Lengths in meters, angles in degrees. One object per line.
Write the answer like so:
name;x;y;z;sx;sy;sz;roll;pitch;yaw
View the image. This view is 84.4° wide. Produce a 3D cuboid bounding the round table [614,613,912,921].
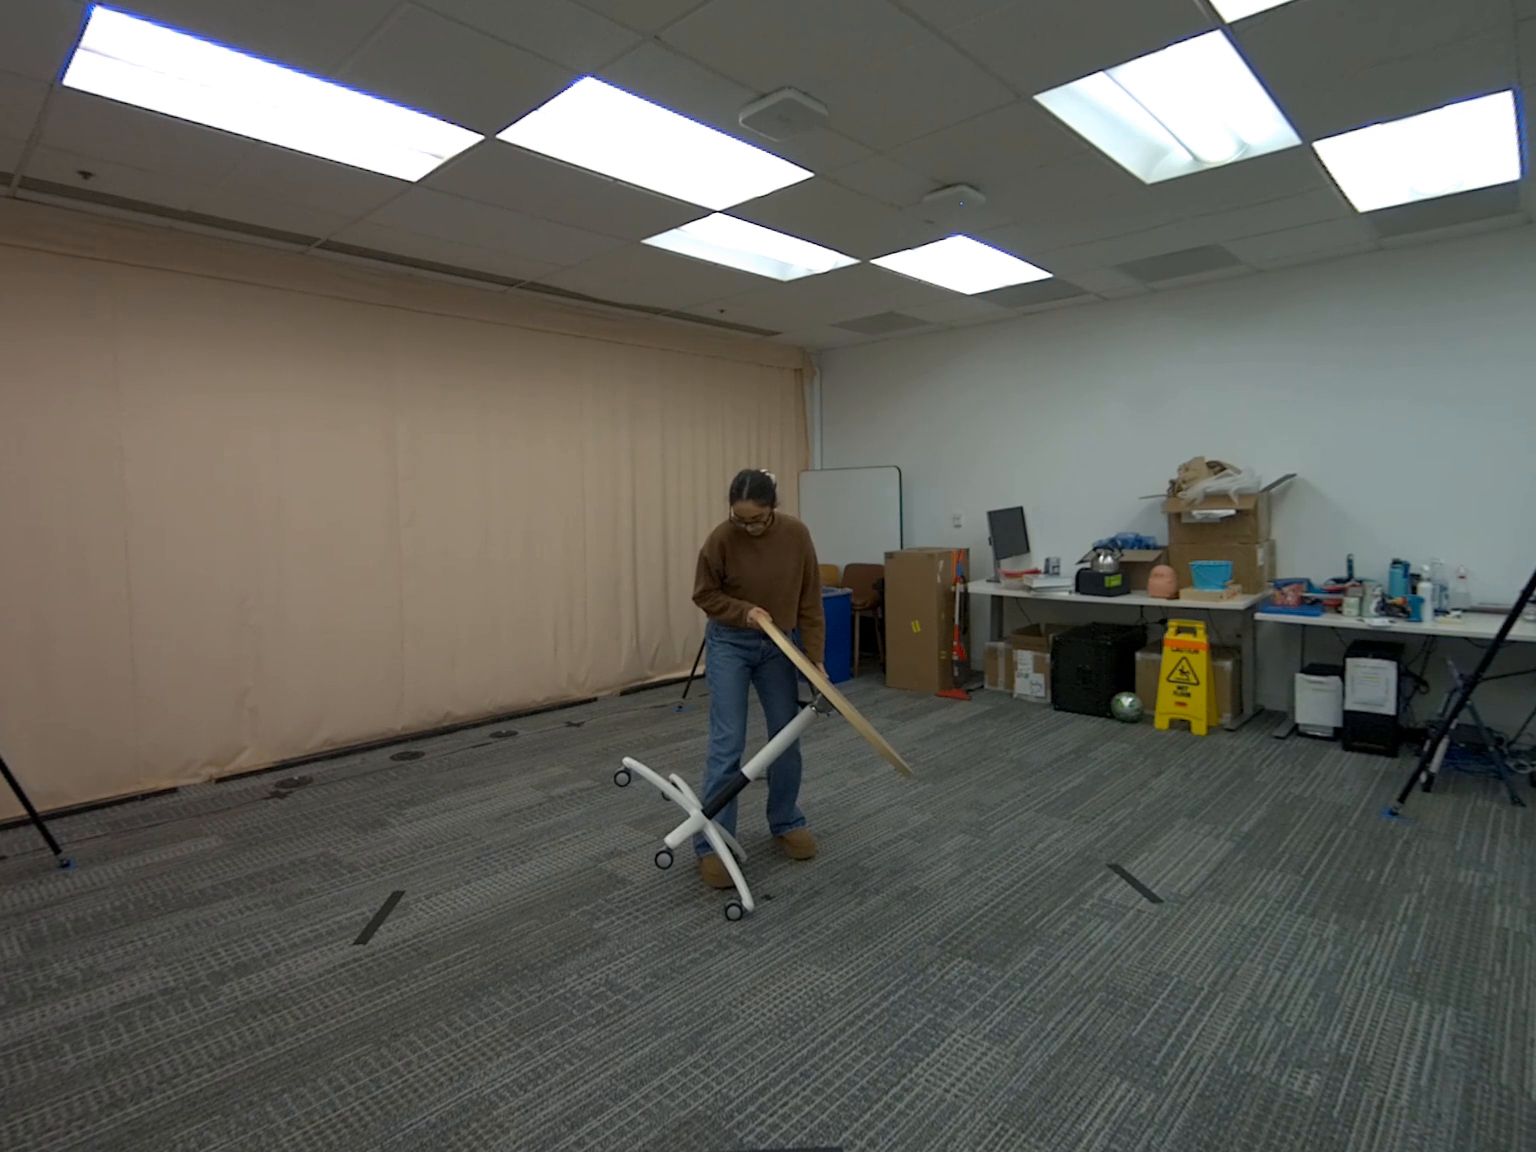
round table;-0.041;0.685;3.015;0.794;0.760;0.768;-44;5;0
